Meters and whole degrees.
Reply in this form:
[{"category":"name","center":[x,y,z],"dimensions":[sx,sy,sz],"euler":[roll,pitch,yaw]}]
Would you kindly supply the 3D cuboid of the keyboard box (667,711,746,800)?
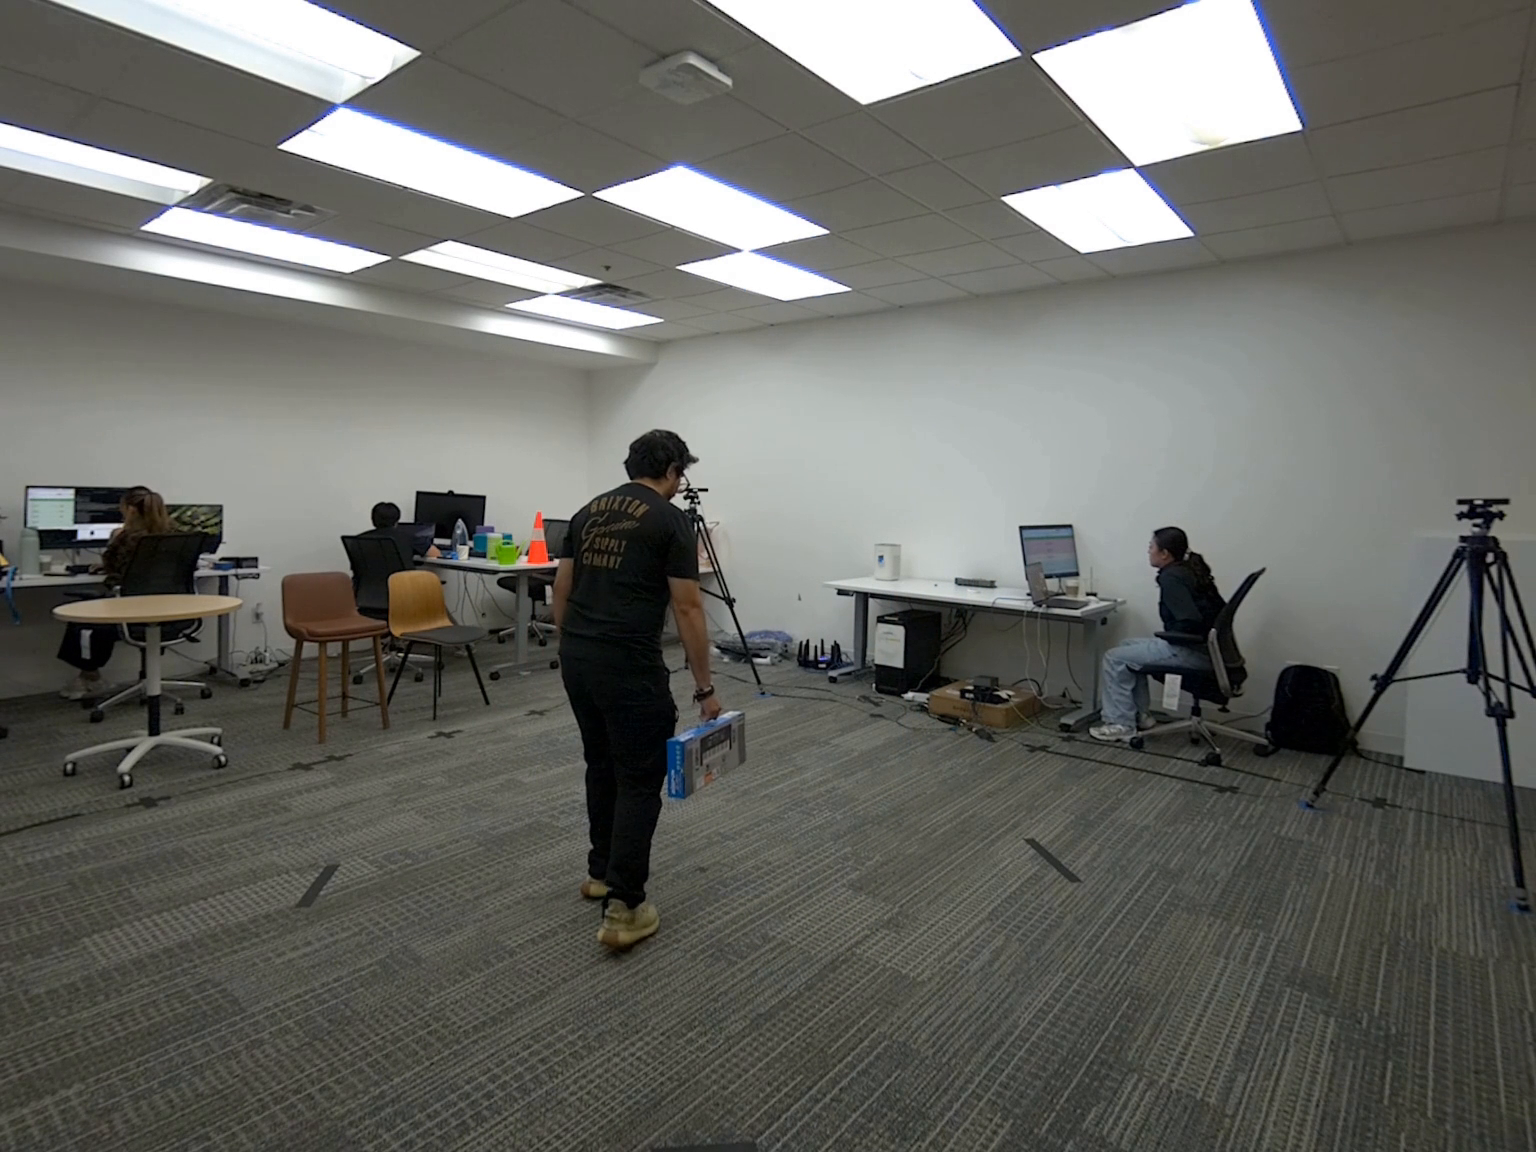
[{"category":"keyboard box","center":[-0.198,0.566,2.725],"dimensions":[0.060,0.176,0.427],"euler":[0,3,24]}]
